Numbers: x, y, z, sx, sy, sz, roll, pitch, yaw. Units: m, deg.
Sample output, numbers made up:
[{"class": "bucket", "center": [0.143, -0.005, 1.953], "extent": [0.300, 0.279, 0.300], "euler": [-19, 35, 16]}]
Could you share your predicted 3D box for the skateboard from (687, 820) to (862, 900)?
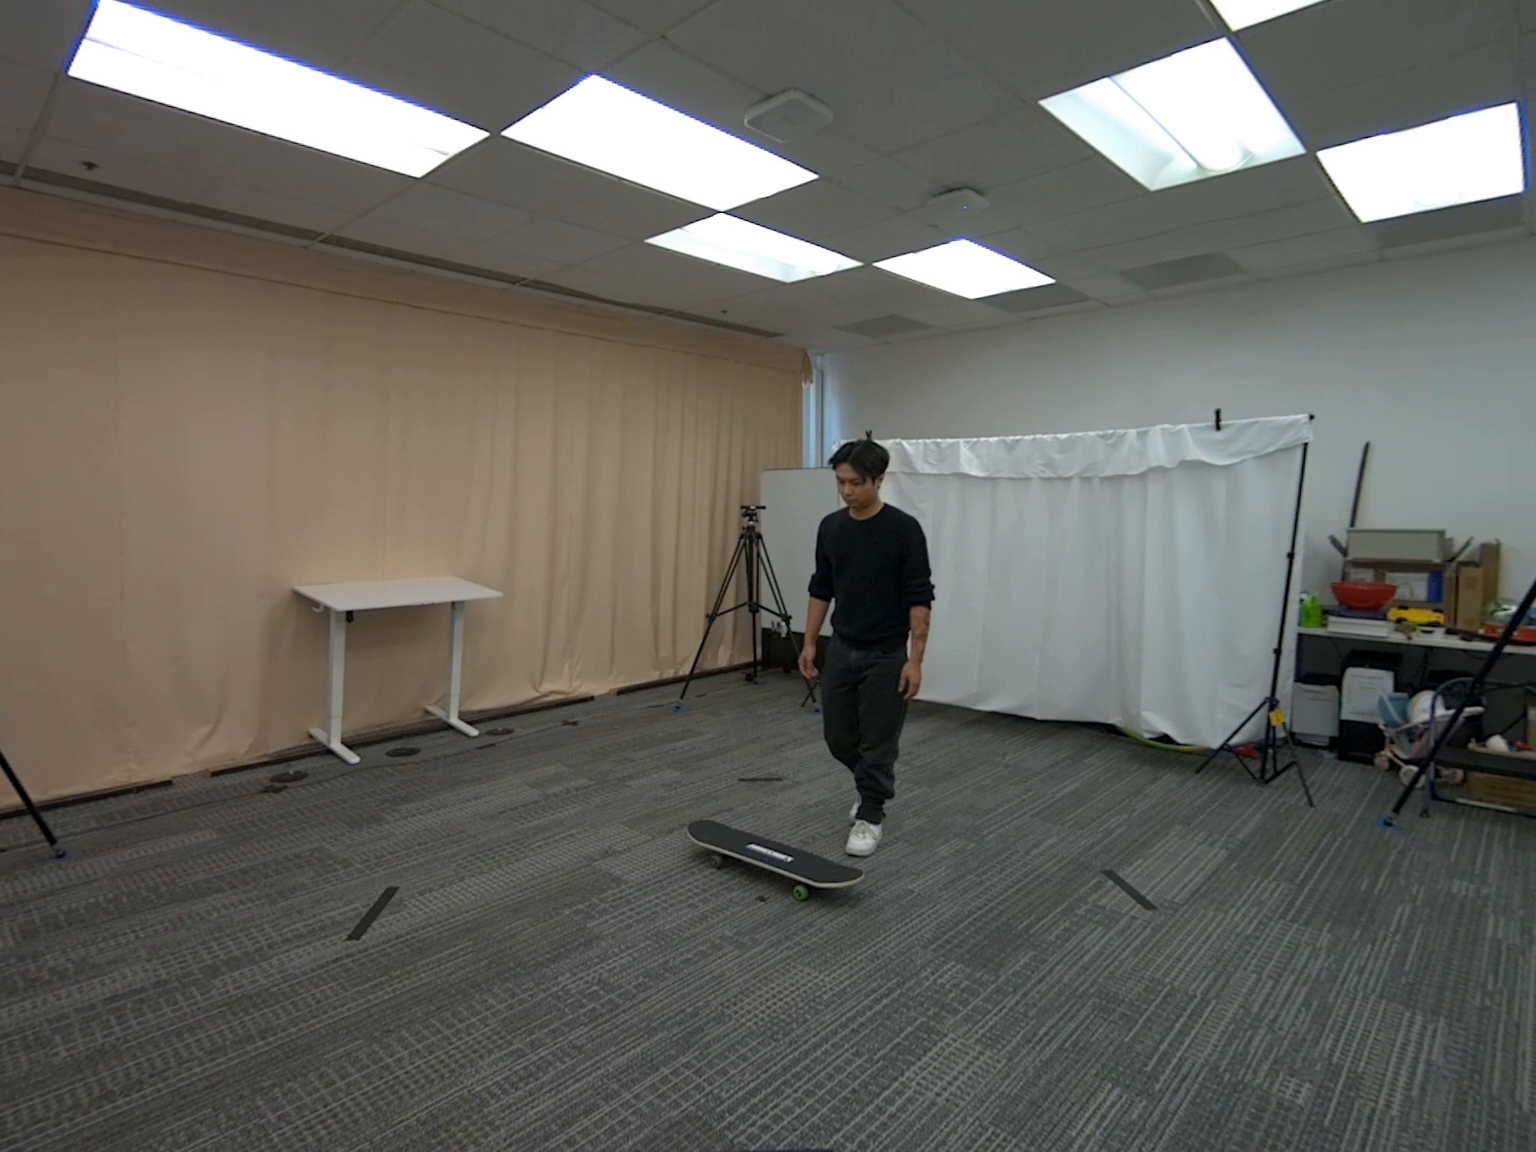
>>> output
[{"class": "skateboard", "center": [0.012, 1.068, 3.163], "extent": [0.811, 0.110, 0.188], "euler": [4, 6, 40]}]
